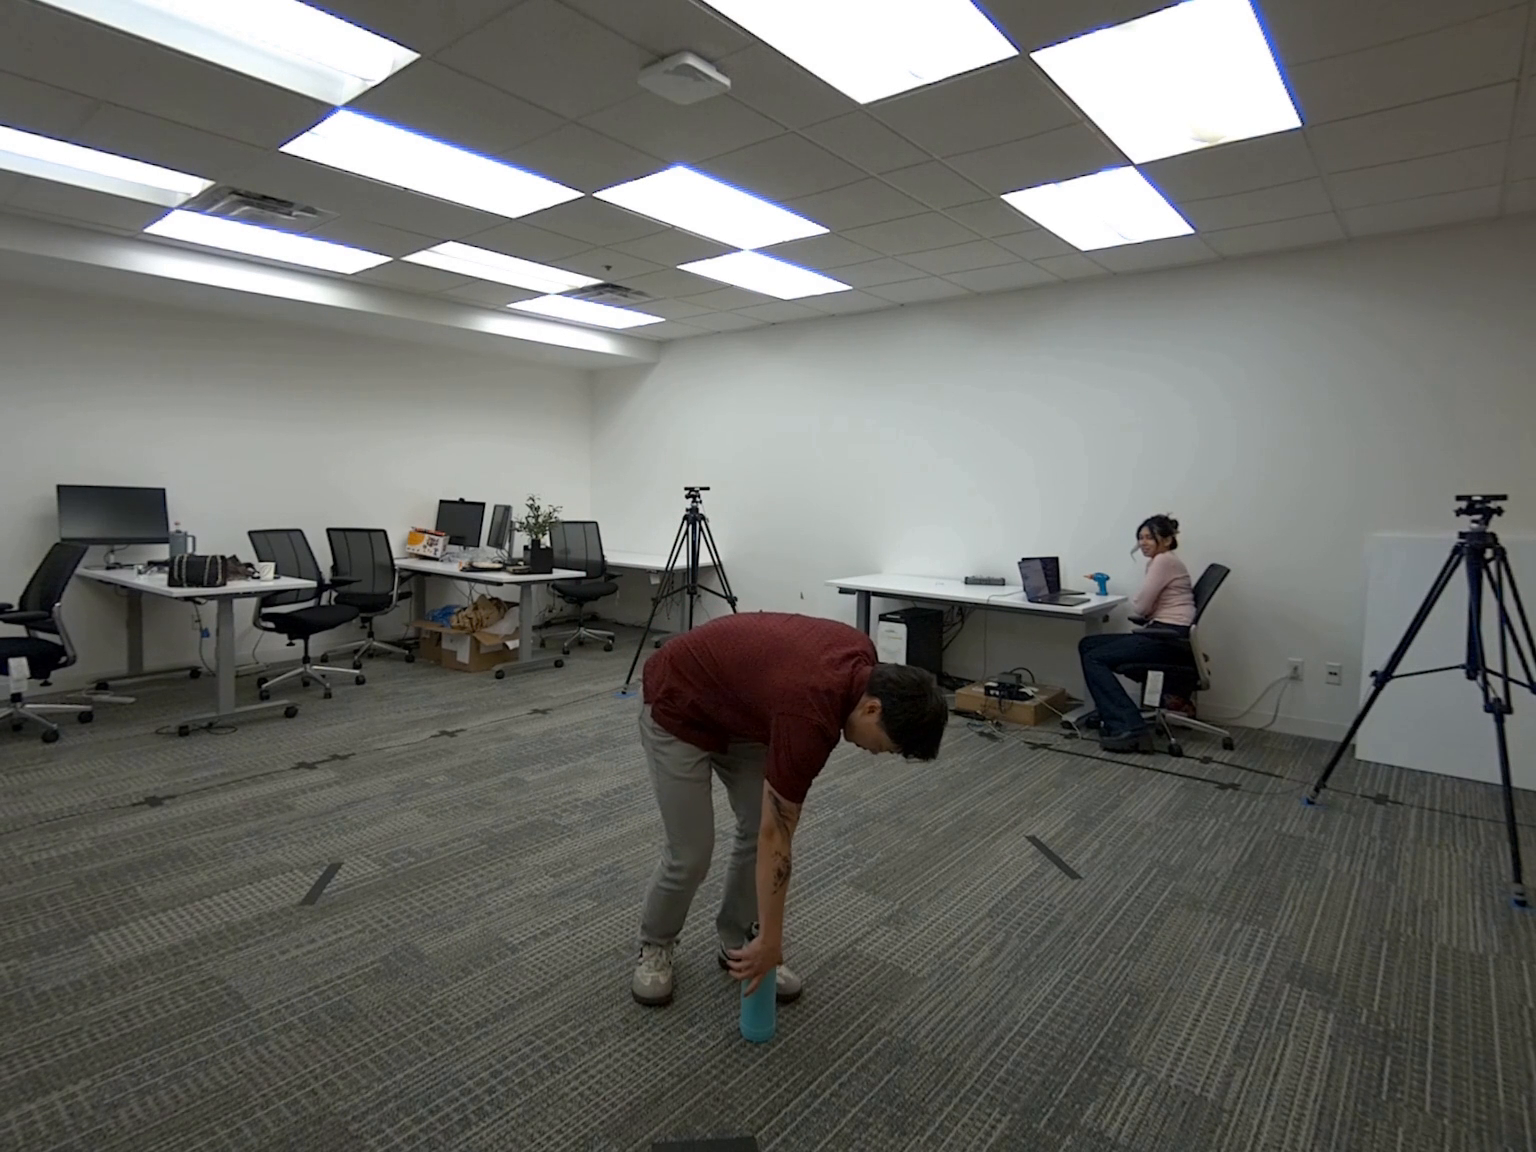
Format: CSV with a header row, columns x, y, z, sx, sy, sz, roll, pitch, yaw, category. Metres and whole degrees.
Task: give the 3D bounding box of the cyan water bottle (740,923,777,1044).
x,y,z,sx,sy,sz,roll,pitch,yaw,category
-0.031,1.029,2.175,0.092,0.283,0.092,0,1,-2,cyan water bottle
